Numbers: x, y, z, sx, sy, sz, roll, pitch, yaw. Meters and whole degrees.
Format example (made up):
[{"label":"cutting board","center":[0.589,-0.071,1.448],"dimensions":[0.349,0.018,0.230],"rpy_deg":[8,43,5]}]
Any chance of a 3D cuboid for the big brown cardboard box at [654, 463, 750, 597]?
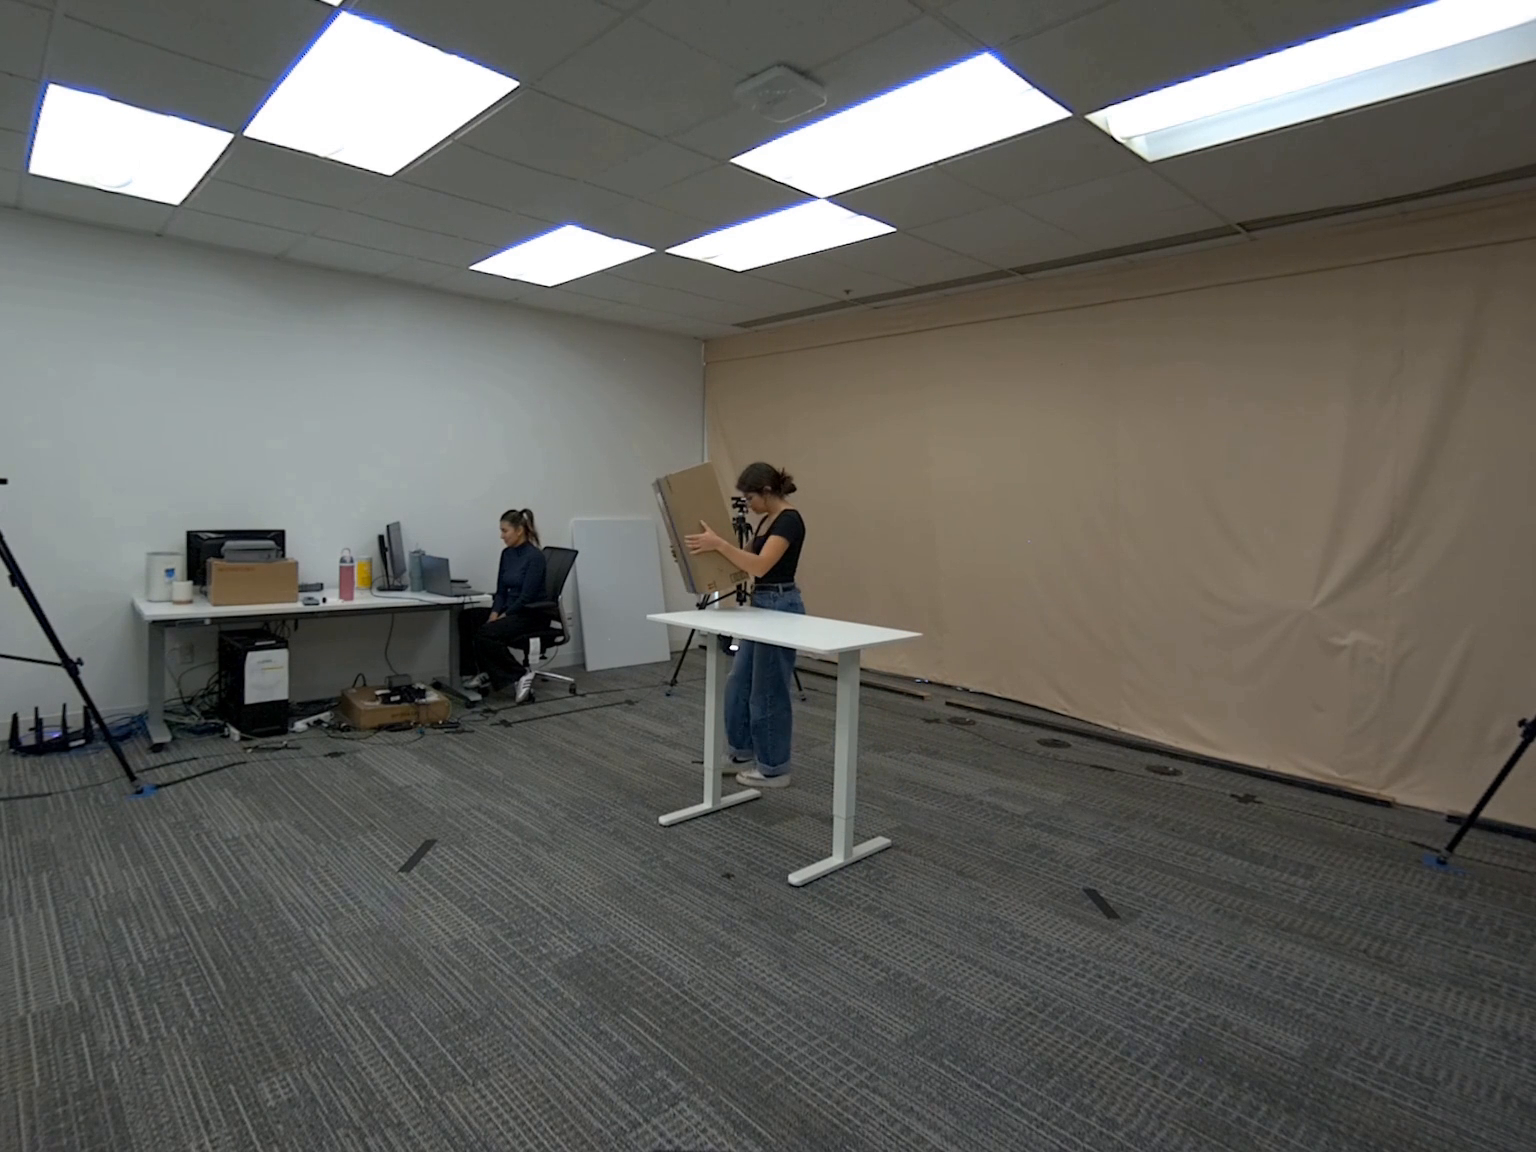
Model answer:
[{"label":"big brown cardboard box","center":[-0.339,-0.224,3.961],"dimensions":[0.231,0.587,0.422],"rpy_deg":[-19,3,-16]}]
